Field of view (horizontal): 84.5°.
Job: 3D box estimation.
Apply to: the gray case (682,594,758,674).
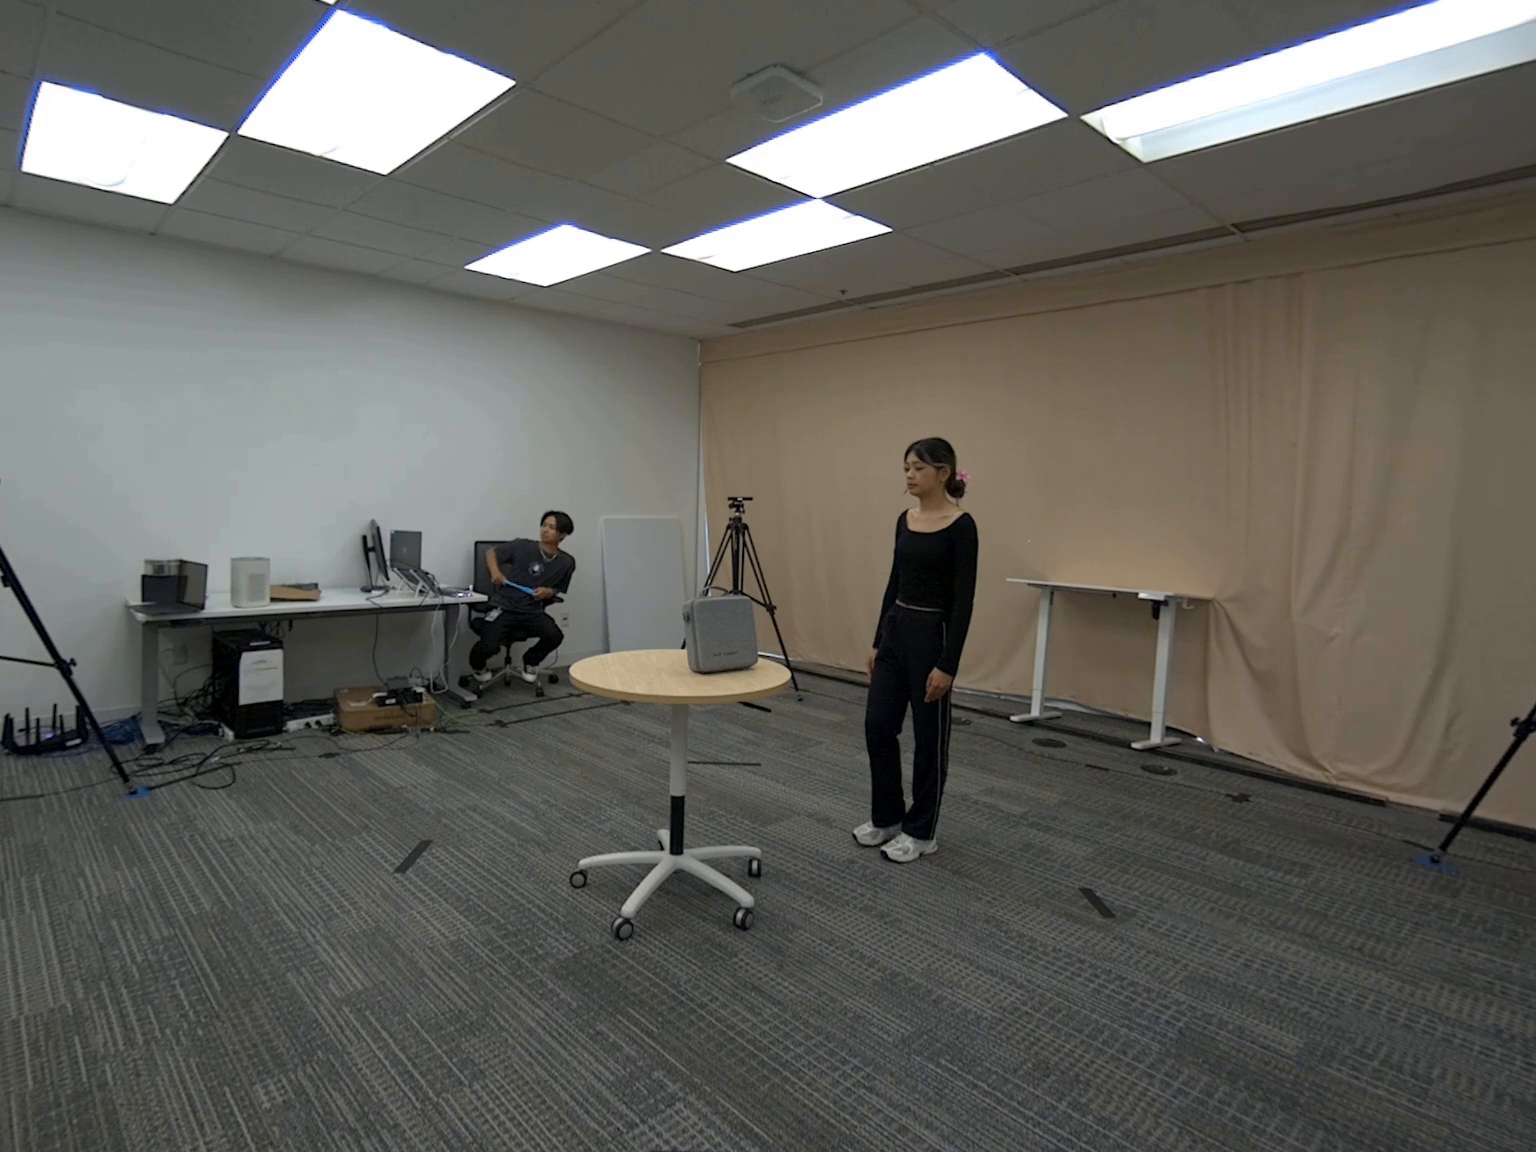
[{"bbox_3d":[-0.173,0.198,2.946,0.251,0.262,0.106,-1,-9,-36],"label":"gray case"}]
